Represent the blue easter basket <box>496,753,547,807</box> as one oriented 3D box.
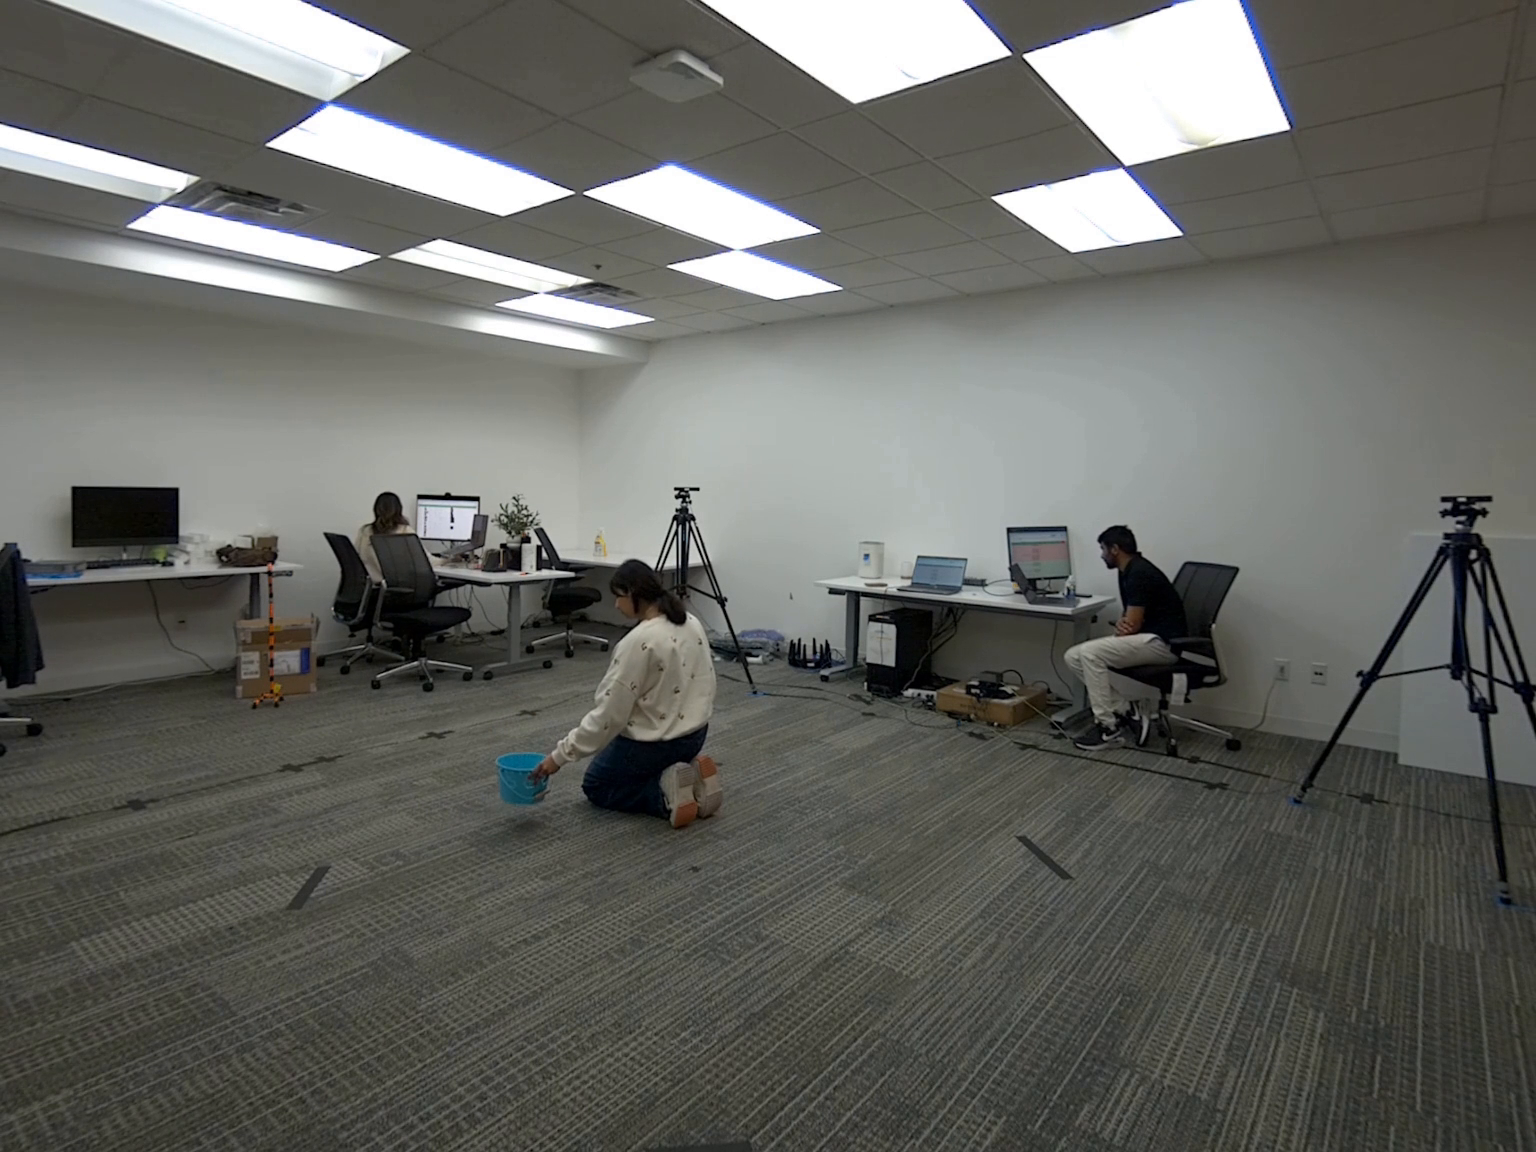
[{"bbox_3d":[-1.021,0.835,3.517,0.243,0.155,0.245,3,5,-2],"label":"blue easter basket"}]
